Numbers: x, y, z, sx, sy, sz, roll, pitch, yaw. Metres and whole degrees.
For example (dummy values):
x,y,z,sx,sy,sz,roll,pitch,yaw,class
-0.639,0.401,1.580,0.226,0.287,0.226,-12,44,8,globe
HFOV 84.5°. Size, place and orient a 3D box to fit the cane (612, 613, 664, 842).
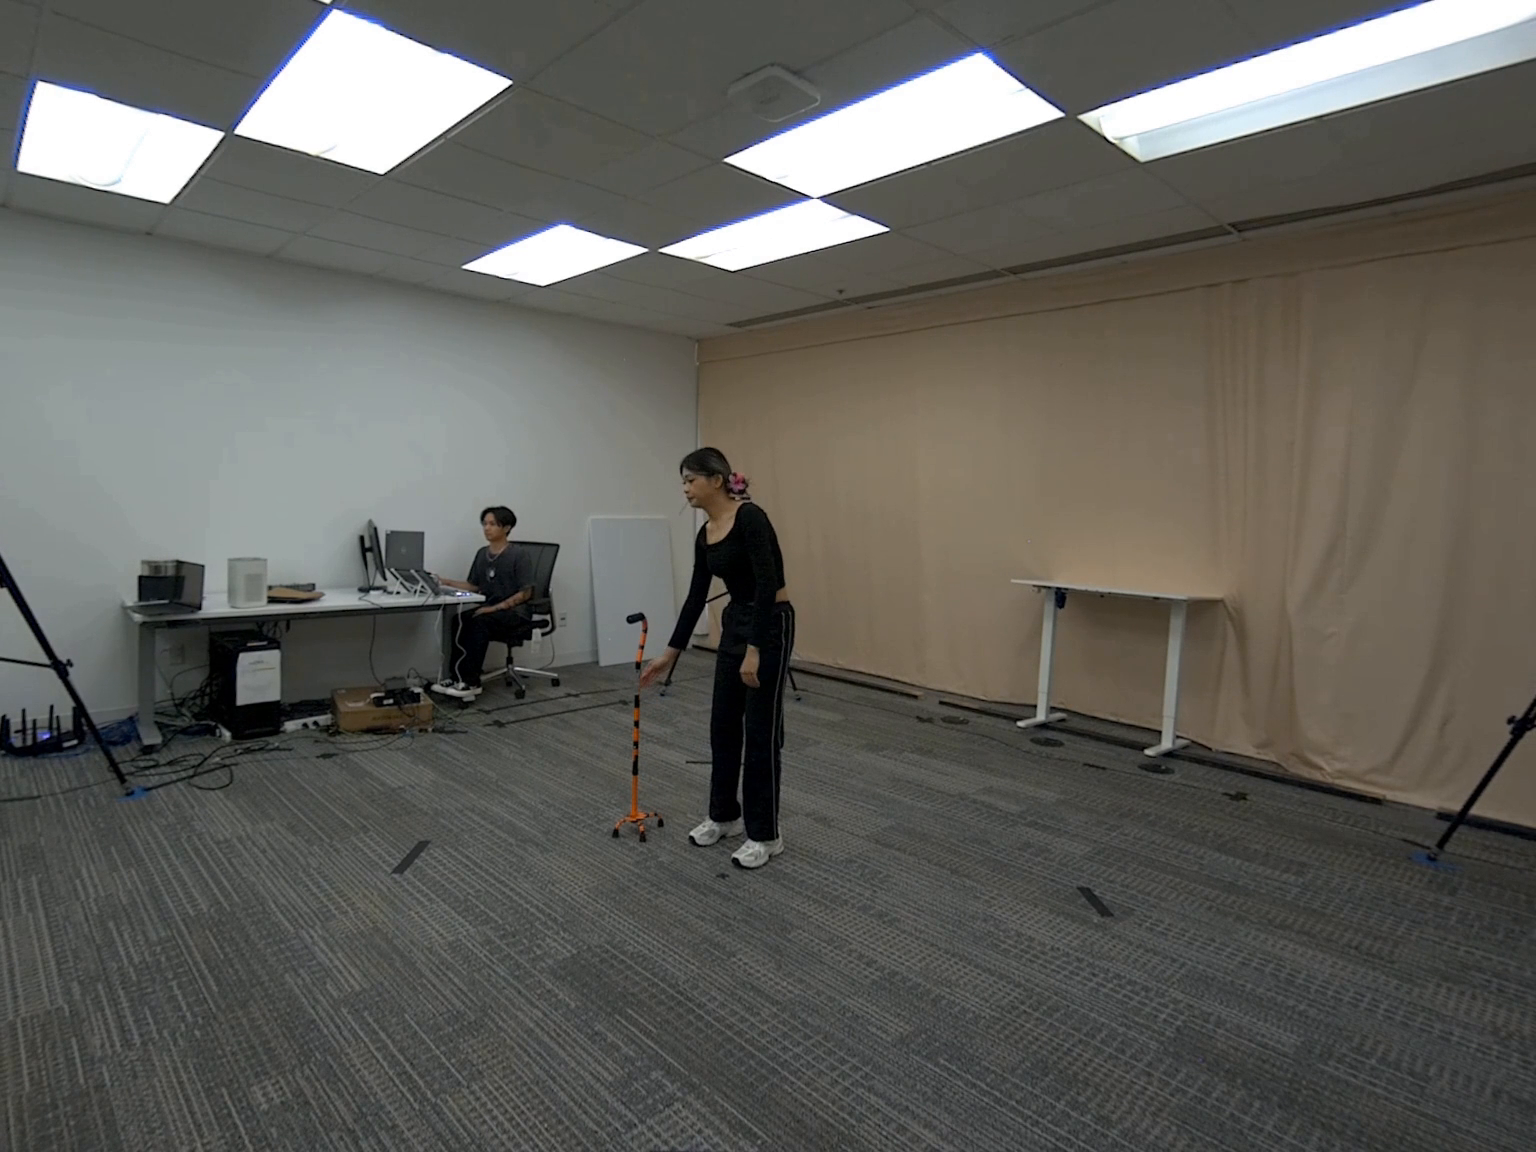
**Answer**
x,y,z,sx,sy,sz,roll,pitch,yaw,class
-0.530,0.607,3.480,0.154,0.906,0.204,3,3,17,cane
